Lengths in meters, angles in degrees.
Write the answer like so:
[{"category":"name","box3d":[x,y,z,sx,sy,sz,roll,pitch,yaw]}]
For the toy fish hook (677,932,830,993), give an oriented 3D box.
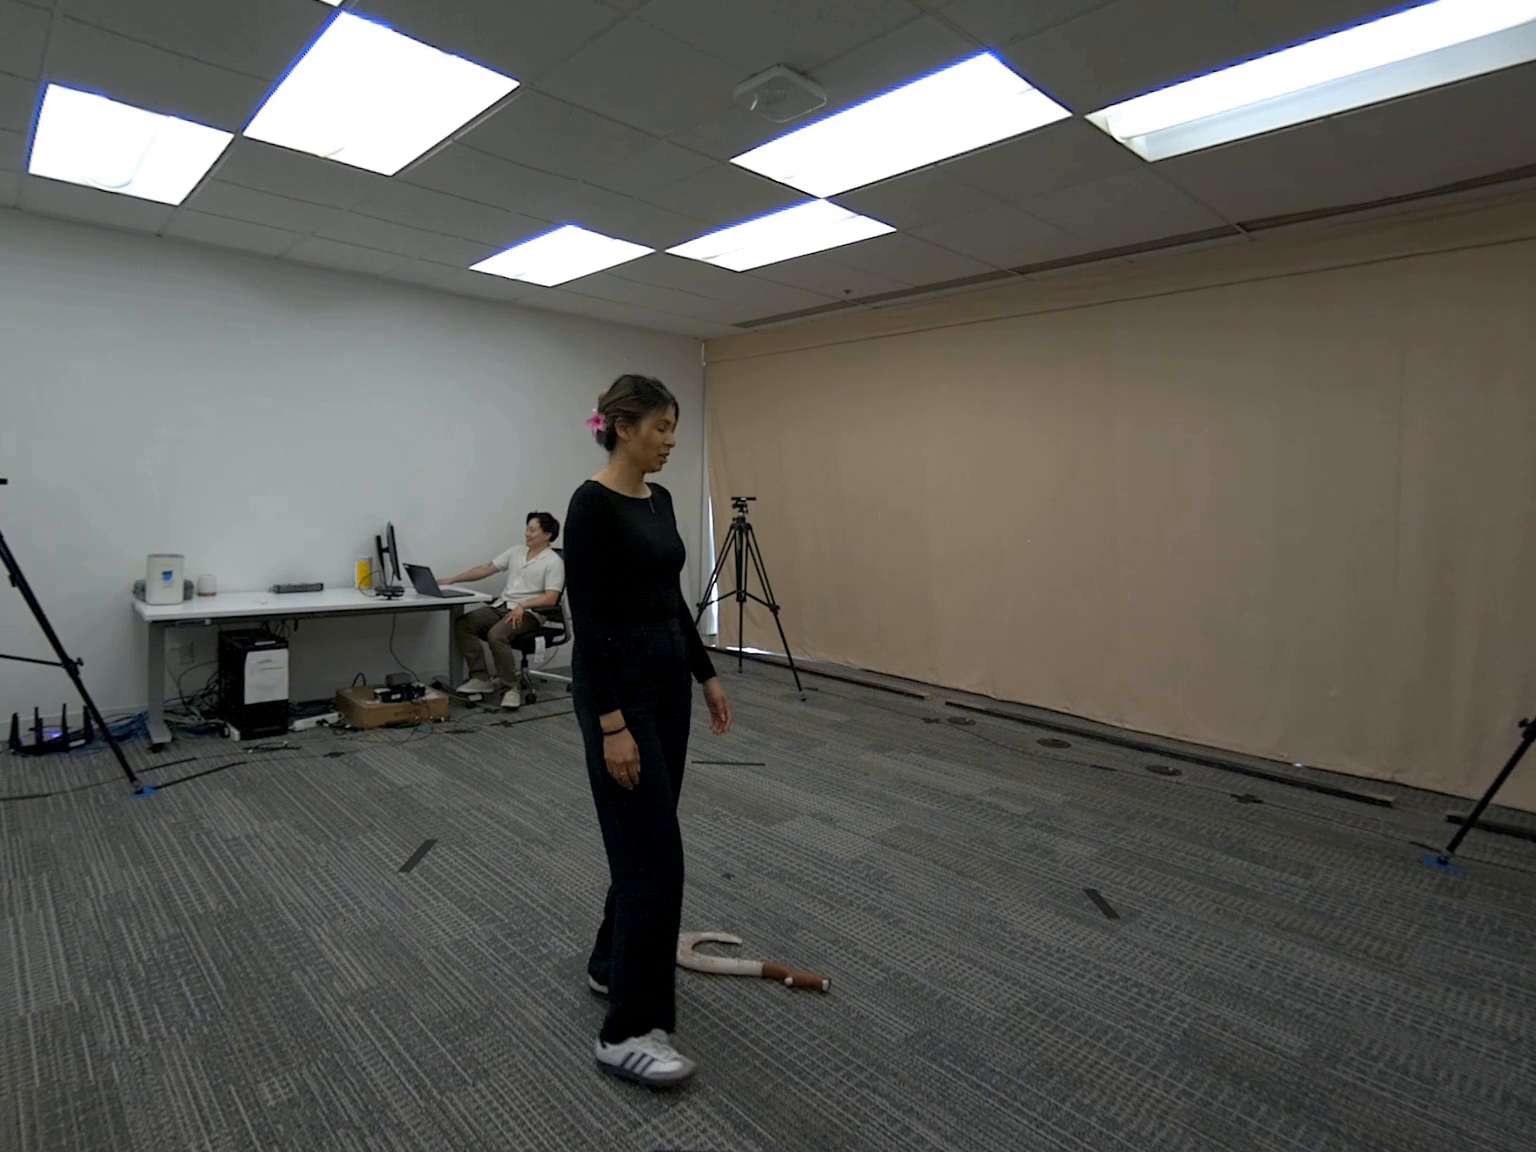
[{"category":"toy fish hook","box3d":[-0.055,1.144,2.510,0.514,0.048,0.222,4,6,19]}]
